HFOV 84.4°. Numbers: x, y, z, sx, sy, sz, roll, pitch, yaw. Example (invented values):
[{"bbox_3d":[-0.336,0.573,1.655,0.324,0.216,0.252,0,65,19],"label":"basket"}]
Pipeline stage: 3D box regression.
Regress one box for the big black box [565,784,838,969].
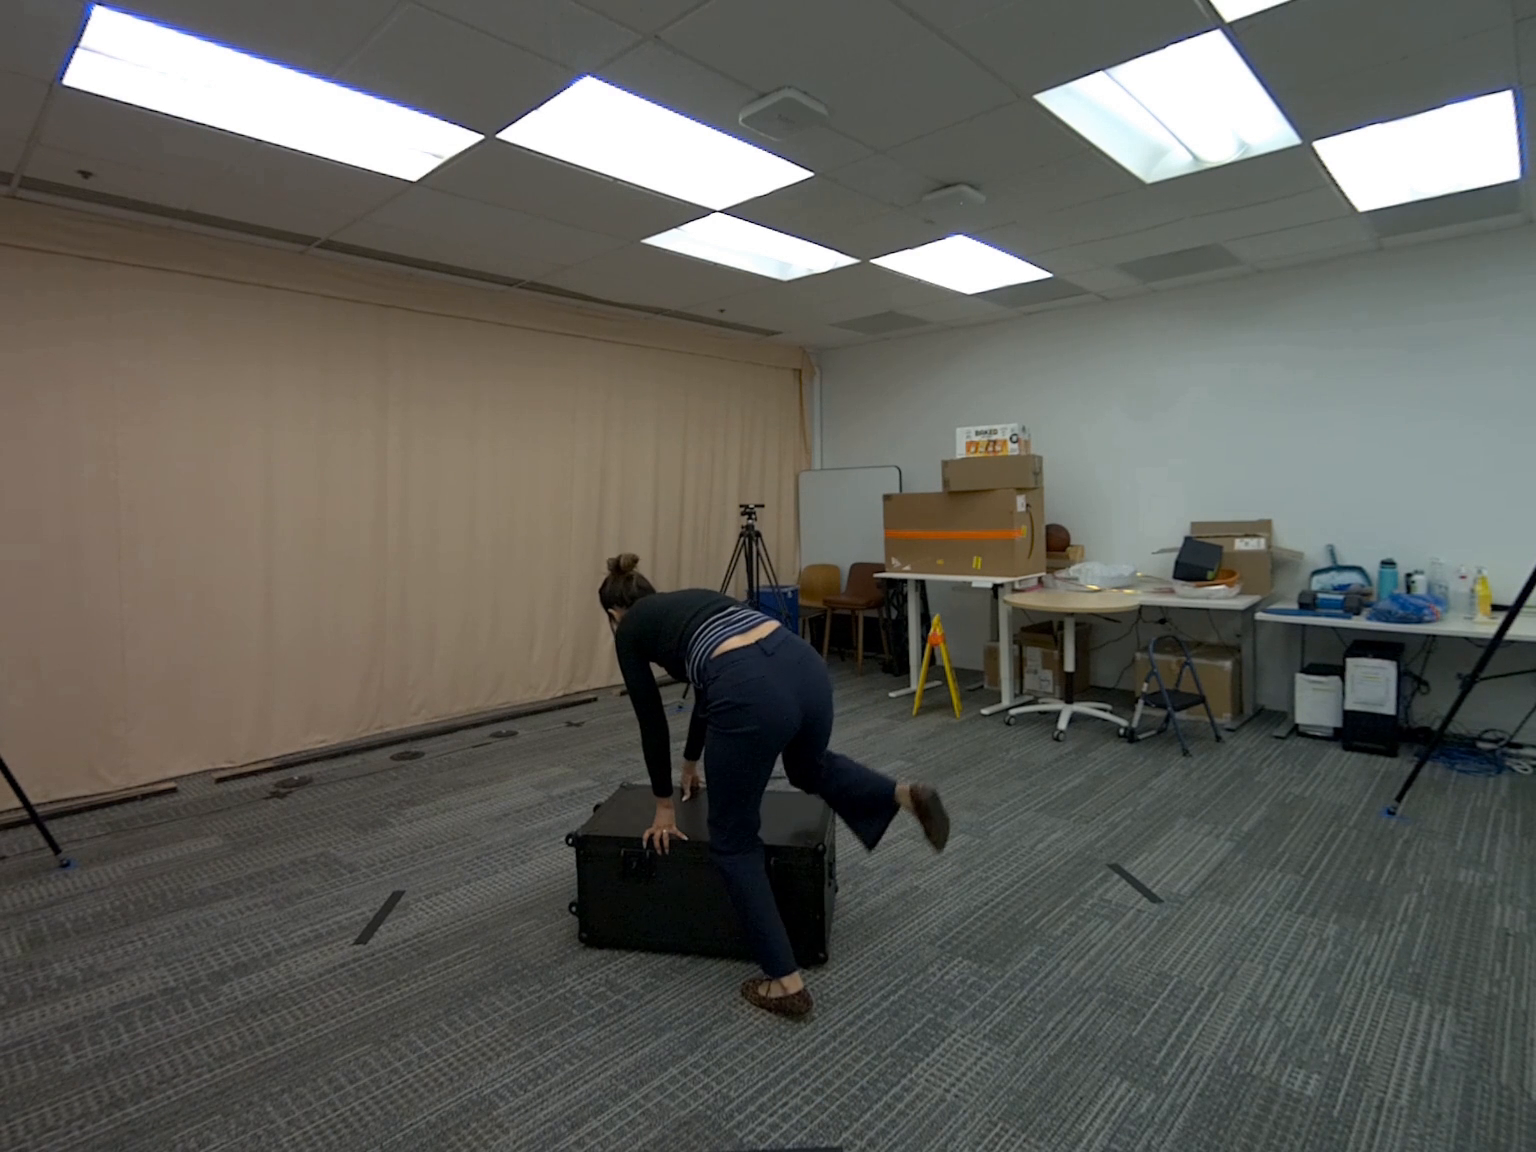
[{"bbox_3d":[-0.213,0.966,2.816,0.872,0.395,0.516,0,5,11],"label":"big black box"}]
